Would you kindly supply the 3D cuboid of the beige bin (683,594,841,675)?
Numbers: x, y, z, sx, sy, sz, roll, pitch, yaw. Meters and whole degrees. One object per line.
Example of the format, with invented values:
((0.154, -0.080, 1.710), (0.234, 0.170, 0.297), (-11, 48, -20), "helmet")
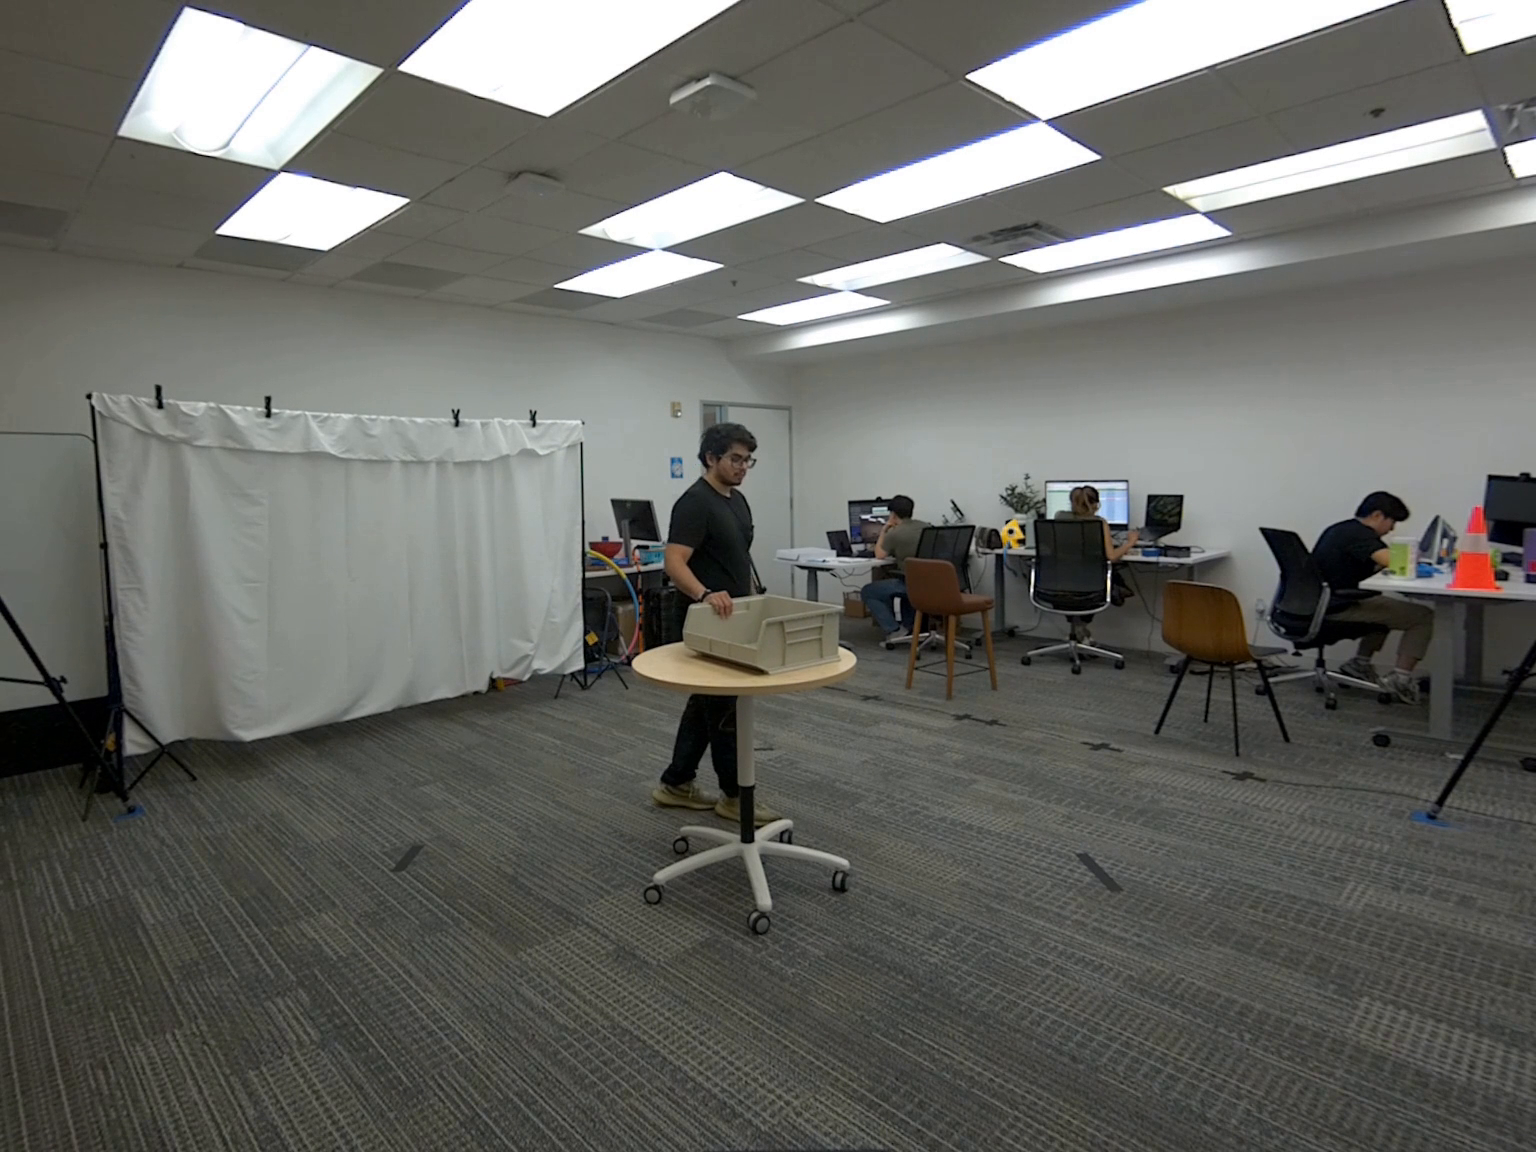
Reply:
((-0.015, 0.195, 2.911), (0.367, 0.188, 0.435), (-3, 5, -41), "beige bin")
